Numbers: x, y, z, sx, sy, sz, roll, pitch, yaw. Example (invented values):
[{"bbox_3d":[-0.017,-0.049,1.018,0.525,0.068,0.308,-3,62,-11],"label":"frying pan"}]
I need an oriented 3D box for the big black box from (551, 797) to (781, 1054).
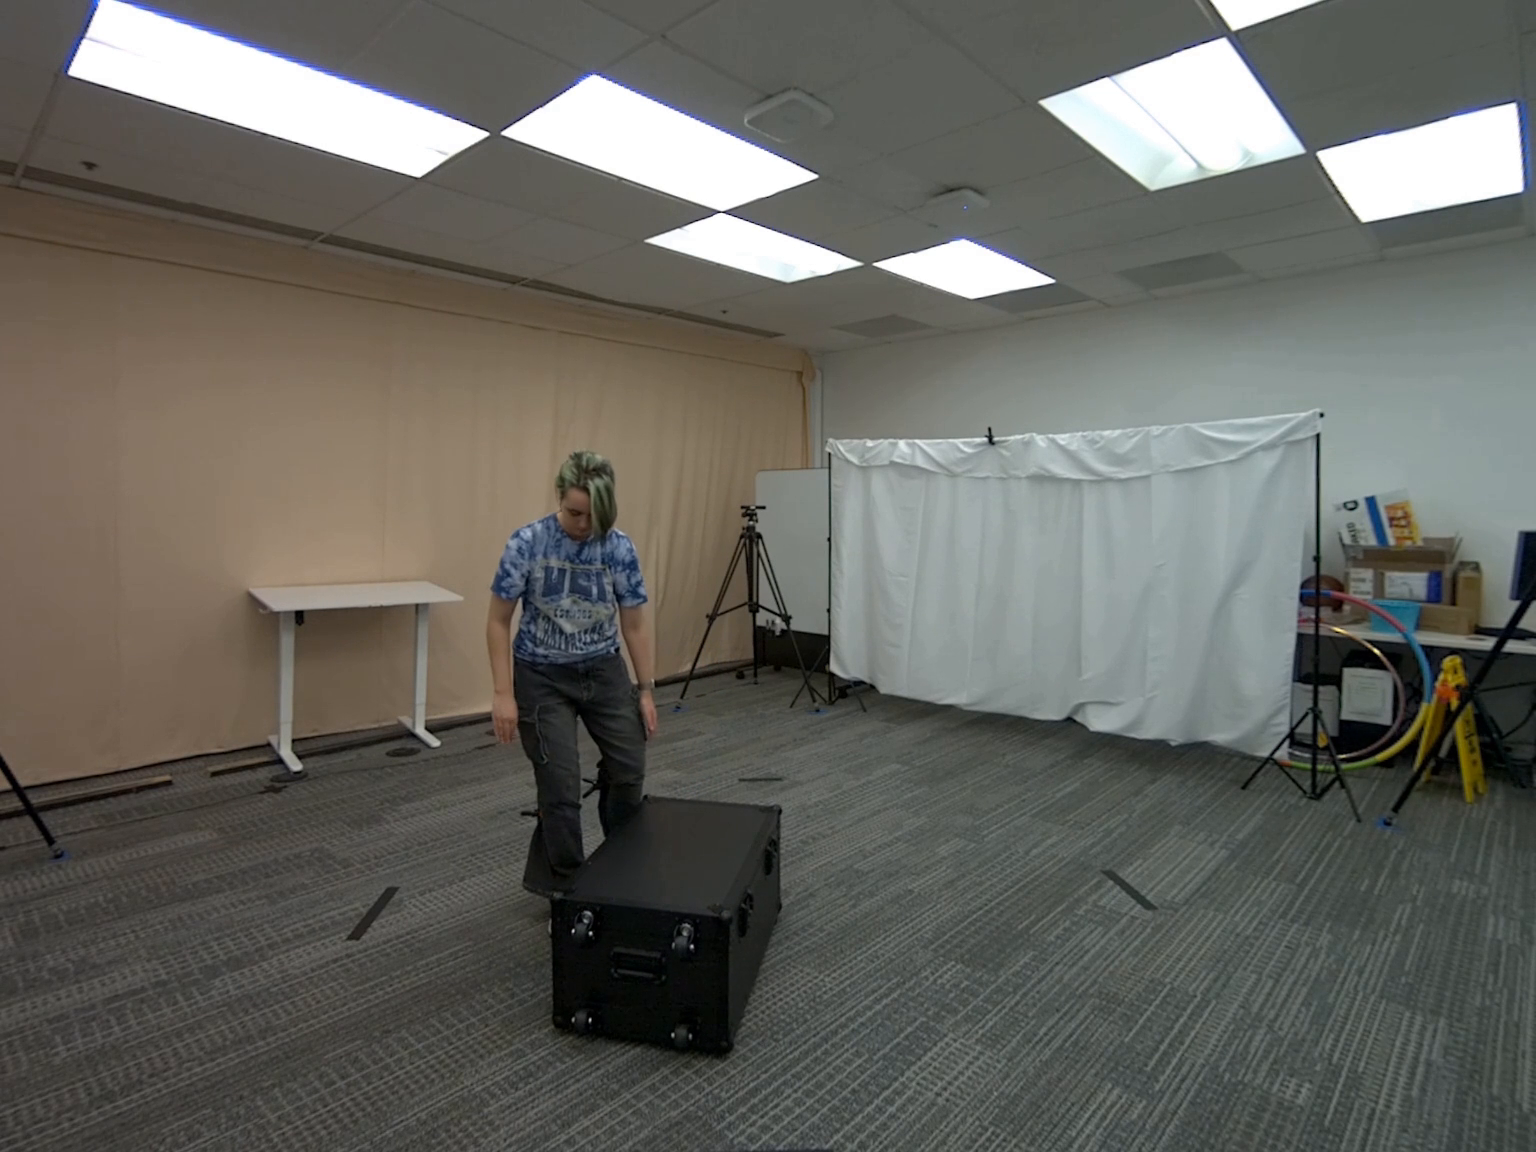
[{"bbox_3d":[-0.261,0.992,2.490,0.528,0.395,0.851,1,4,11],"label":"big black box"}]
